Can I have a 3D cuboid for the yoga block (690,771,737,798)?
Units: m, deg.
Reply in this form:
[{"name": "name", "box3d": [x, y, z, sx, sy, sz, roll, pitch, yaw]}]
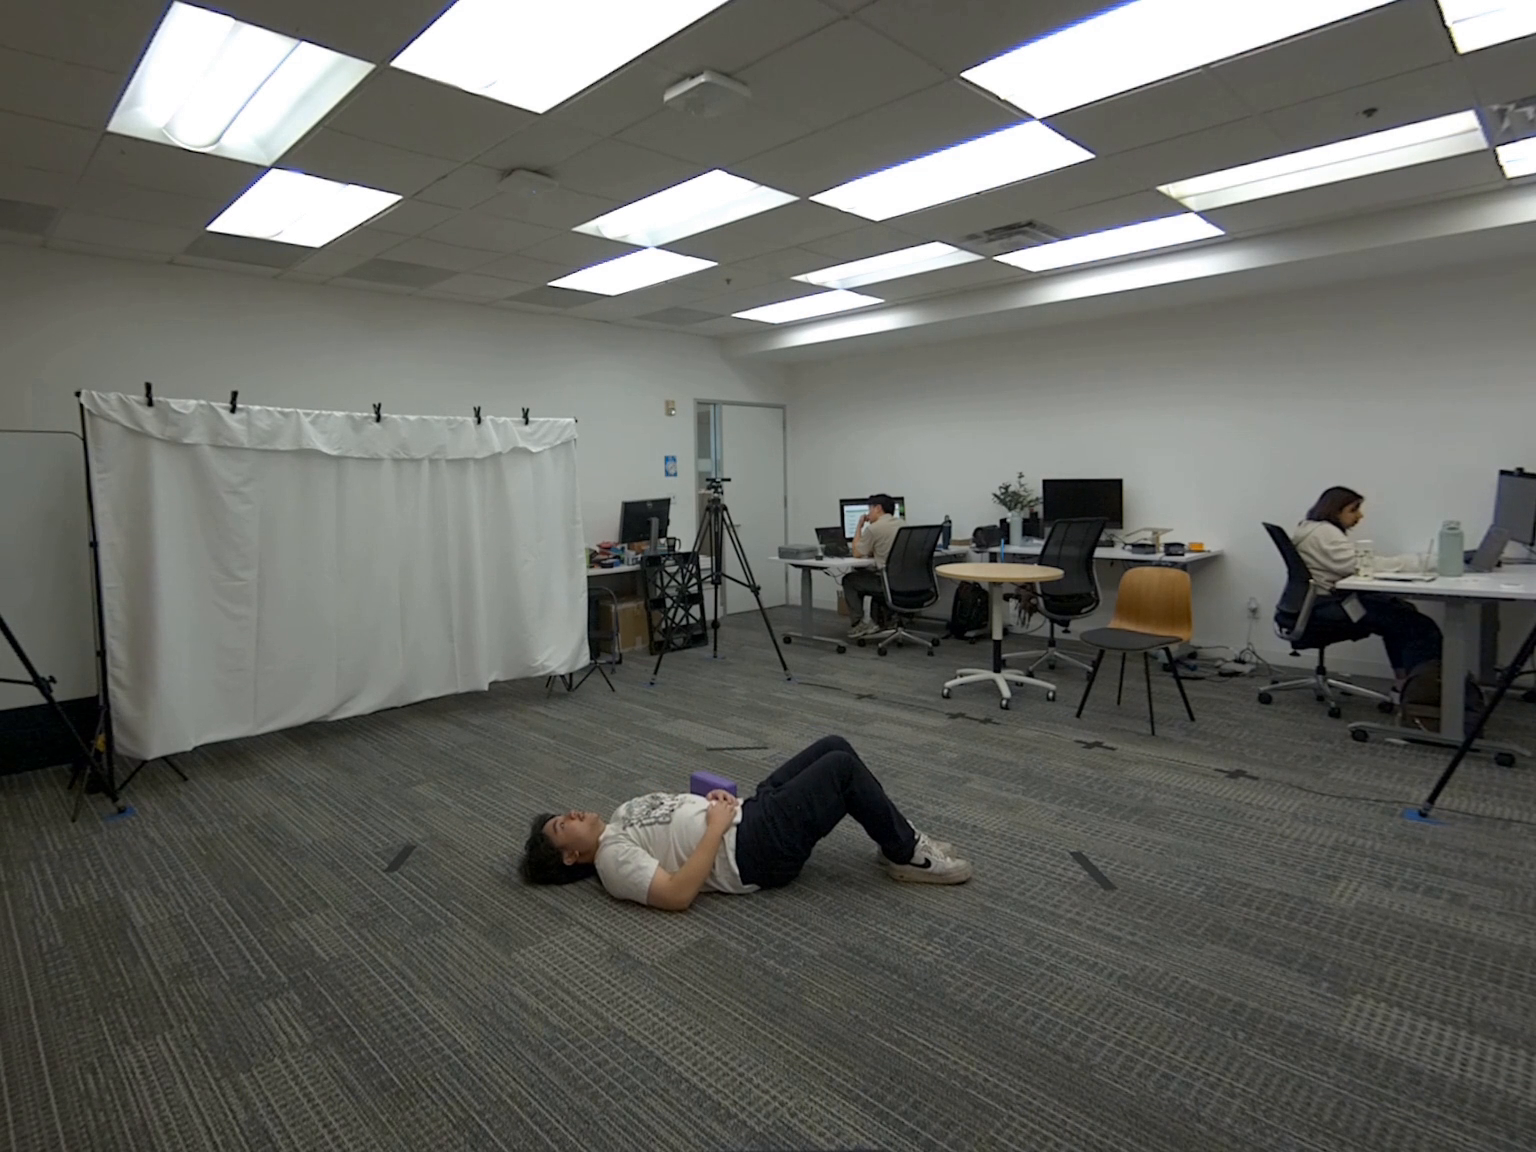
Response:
[{"name": "yoga block", "box3d": [-0.226, 0.917, 3.580, 0.074, 0.148, 0.236, -4, 6, -44]}]
